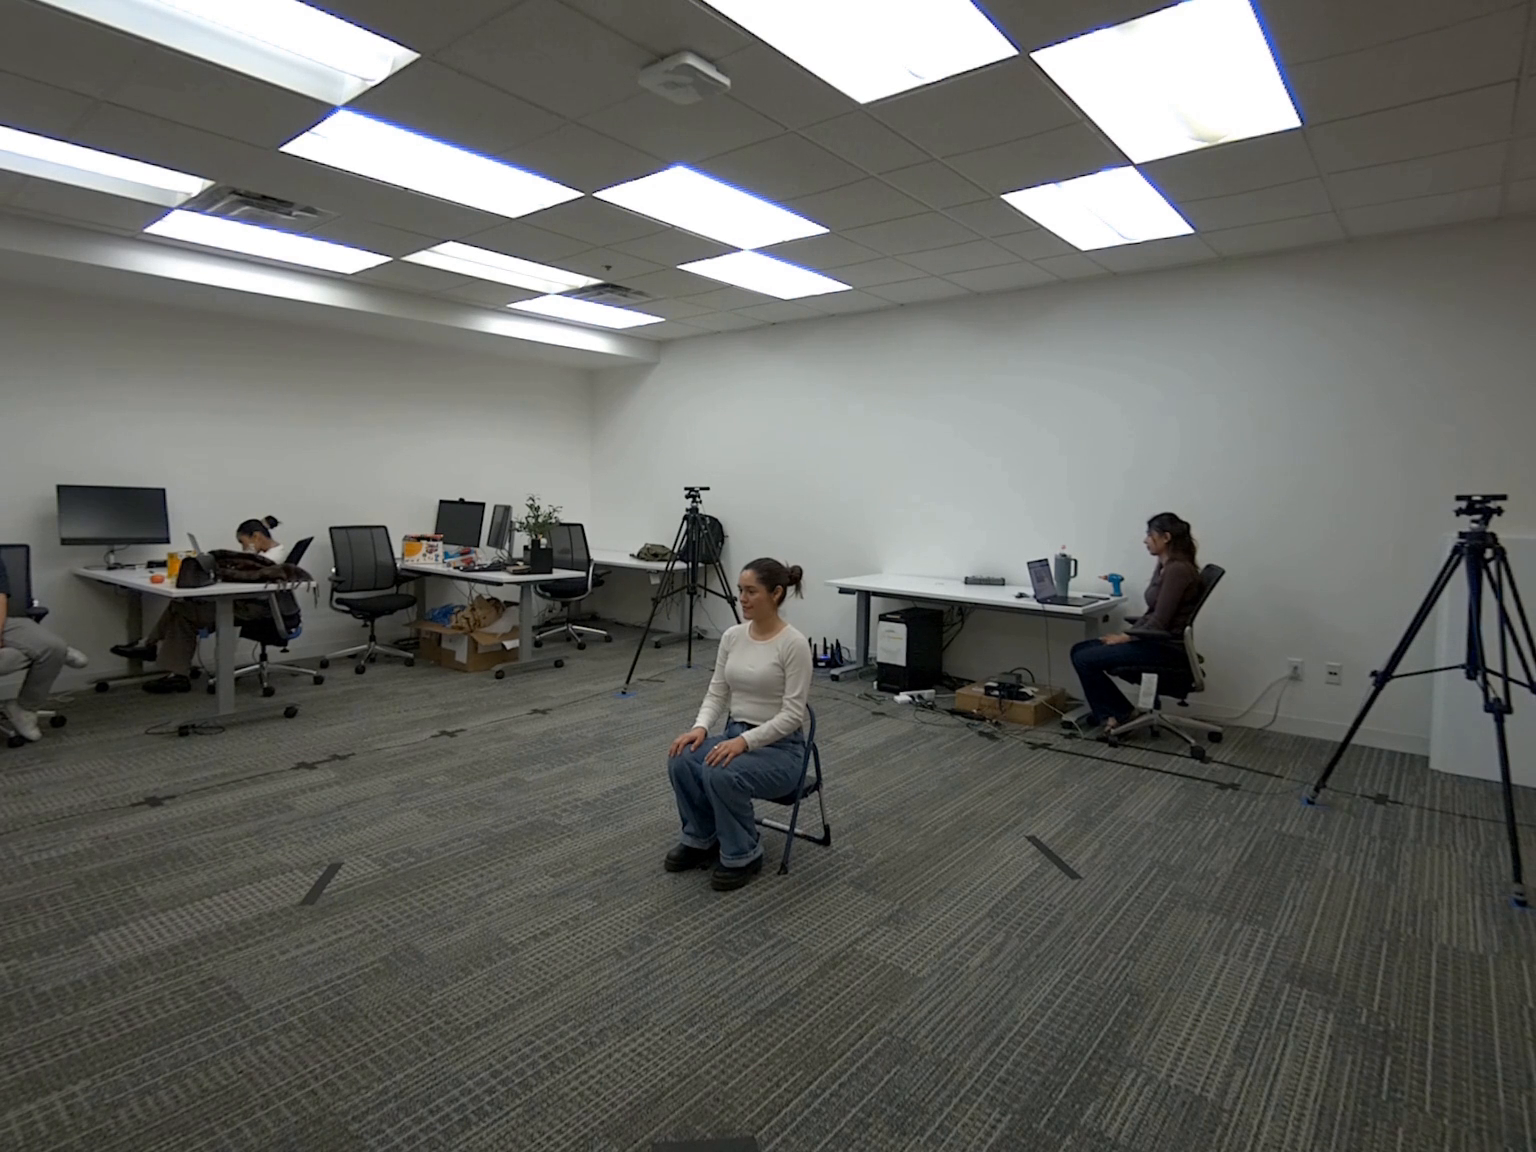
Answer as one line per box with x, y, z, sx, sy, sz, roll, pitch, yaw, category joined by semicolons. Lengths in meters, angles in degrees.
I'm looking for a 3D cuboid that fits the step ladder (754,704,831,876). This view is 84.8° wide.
-0.014;0.742;3.317;0.445;0.604;0.339;4;4;37;step ladder
